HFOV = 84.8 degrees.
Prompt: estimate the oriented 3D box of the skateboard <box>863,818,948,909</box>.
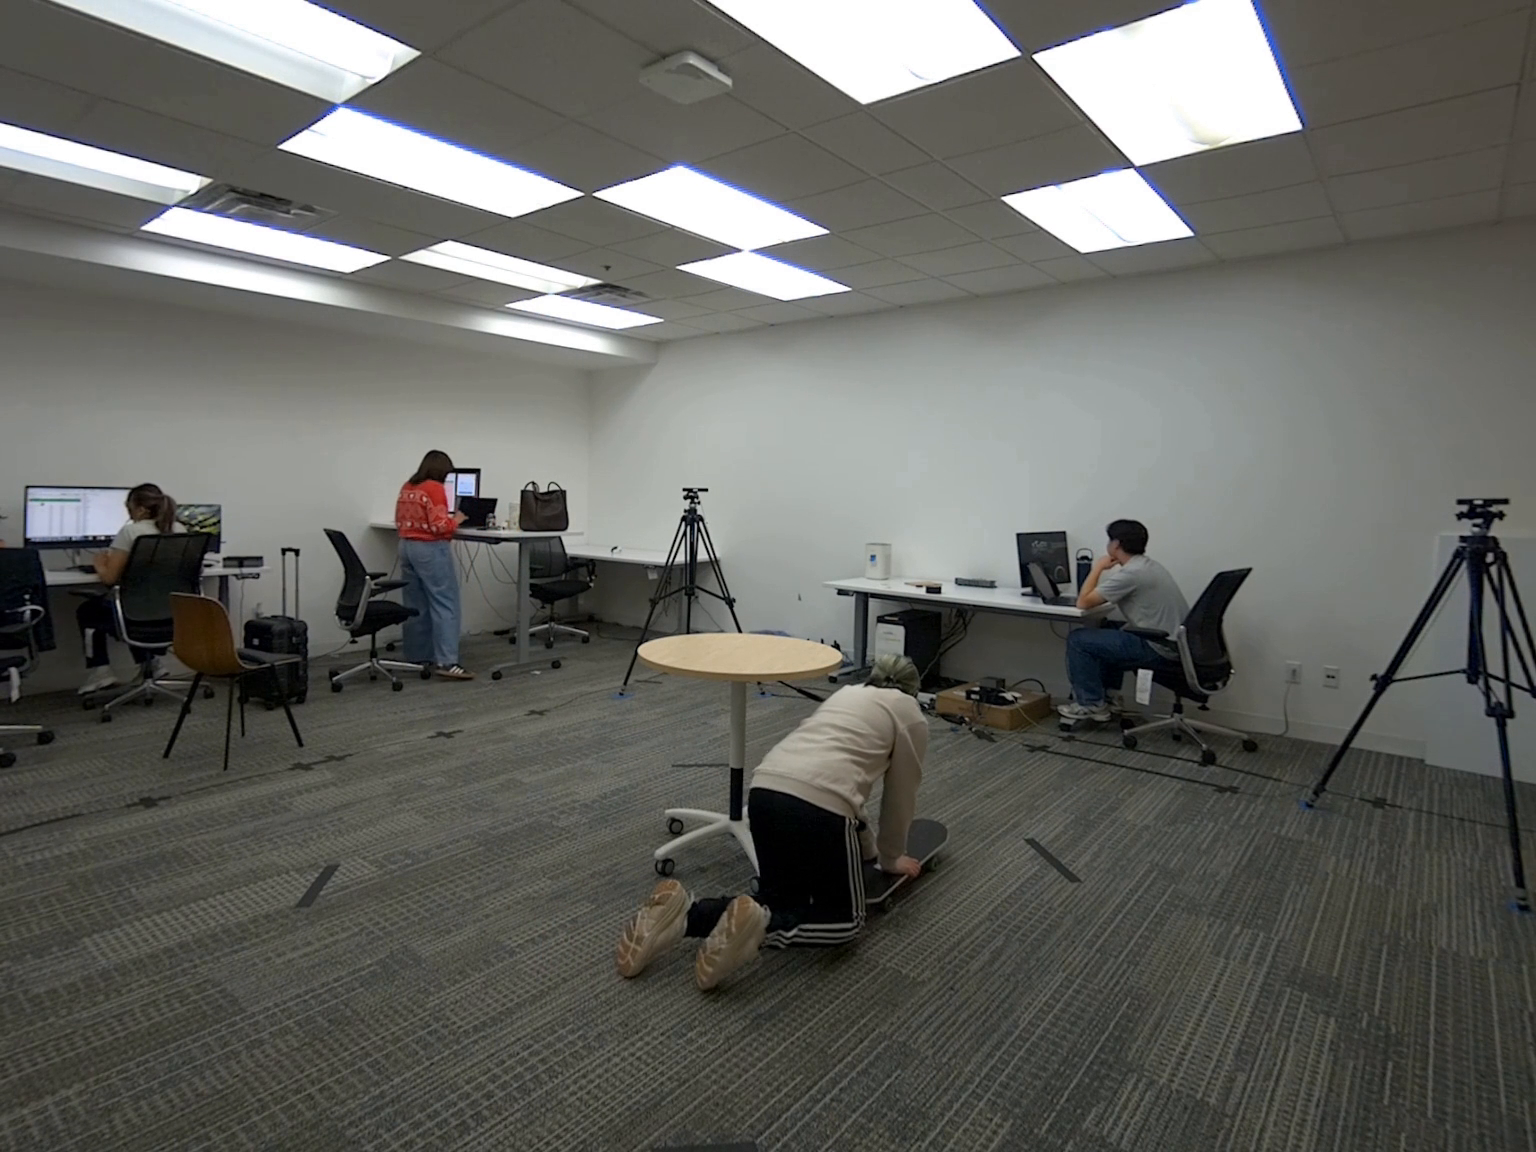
[{"bbox_3d":[0.436,1.041,3.031,0.200,0.110,0.764,6,8,34],"label":"skateboard"}]
